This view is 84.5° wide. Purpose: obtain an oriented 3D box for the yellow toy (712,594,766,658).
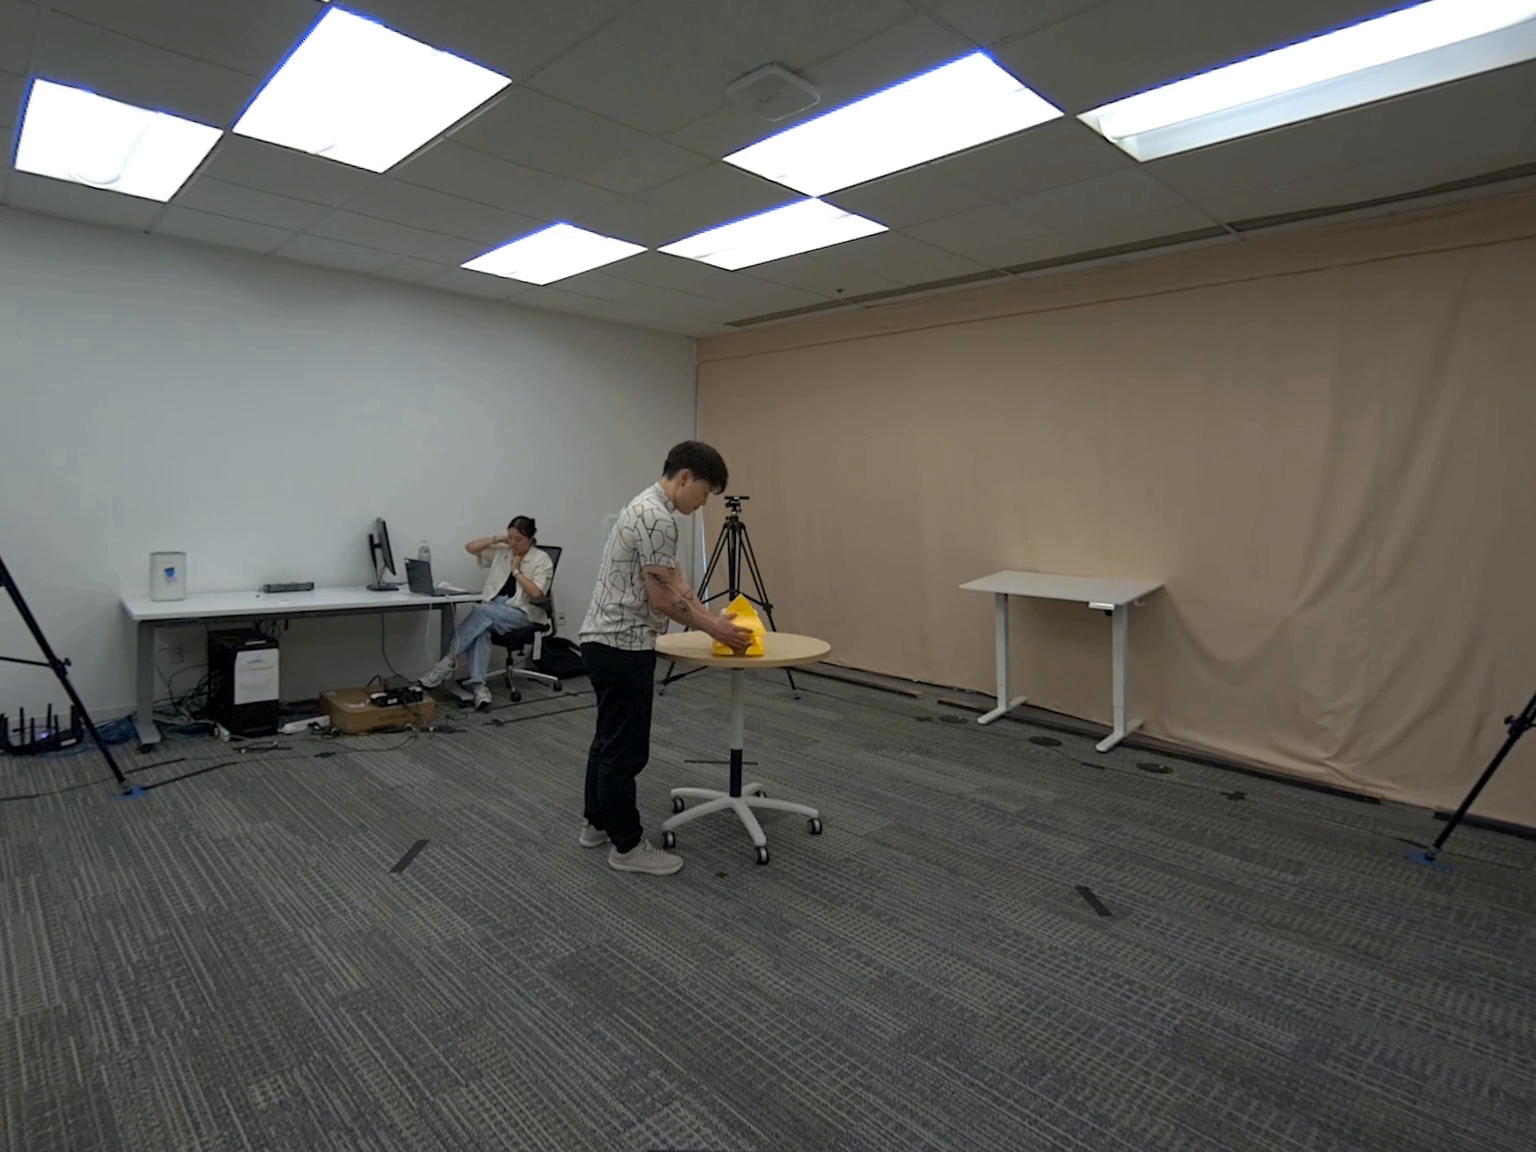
[{"bbox_3d":[-0.123,0.170,3.247,0.204,0.230,0.194,0,4,-5],"label":"yellow toy"}]
